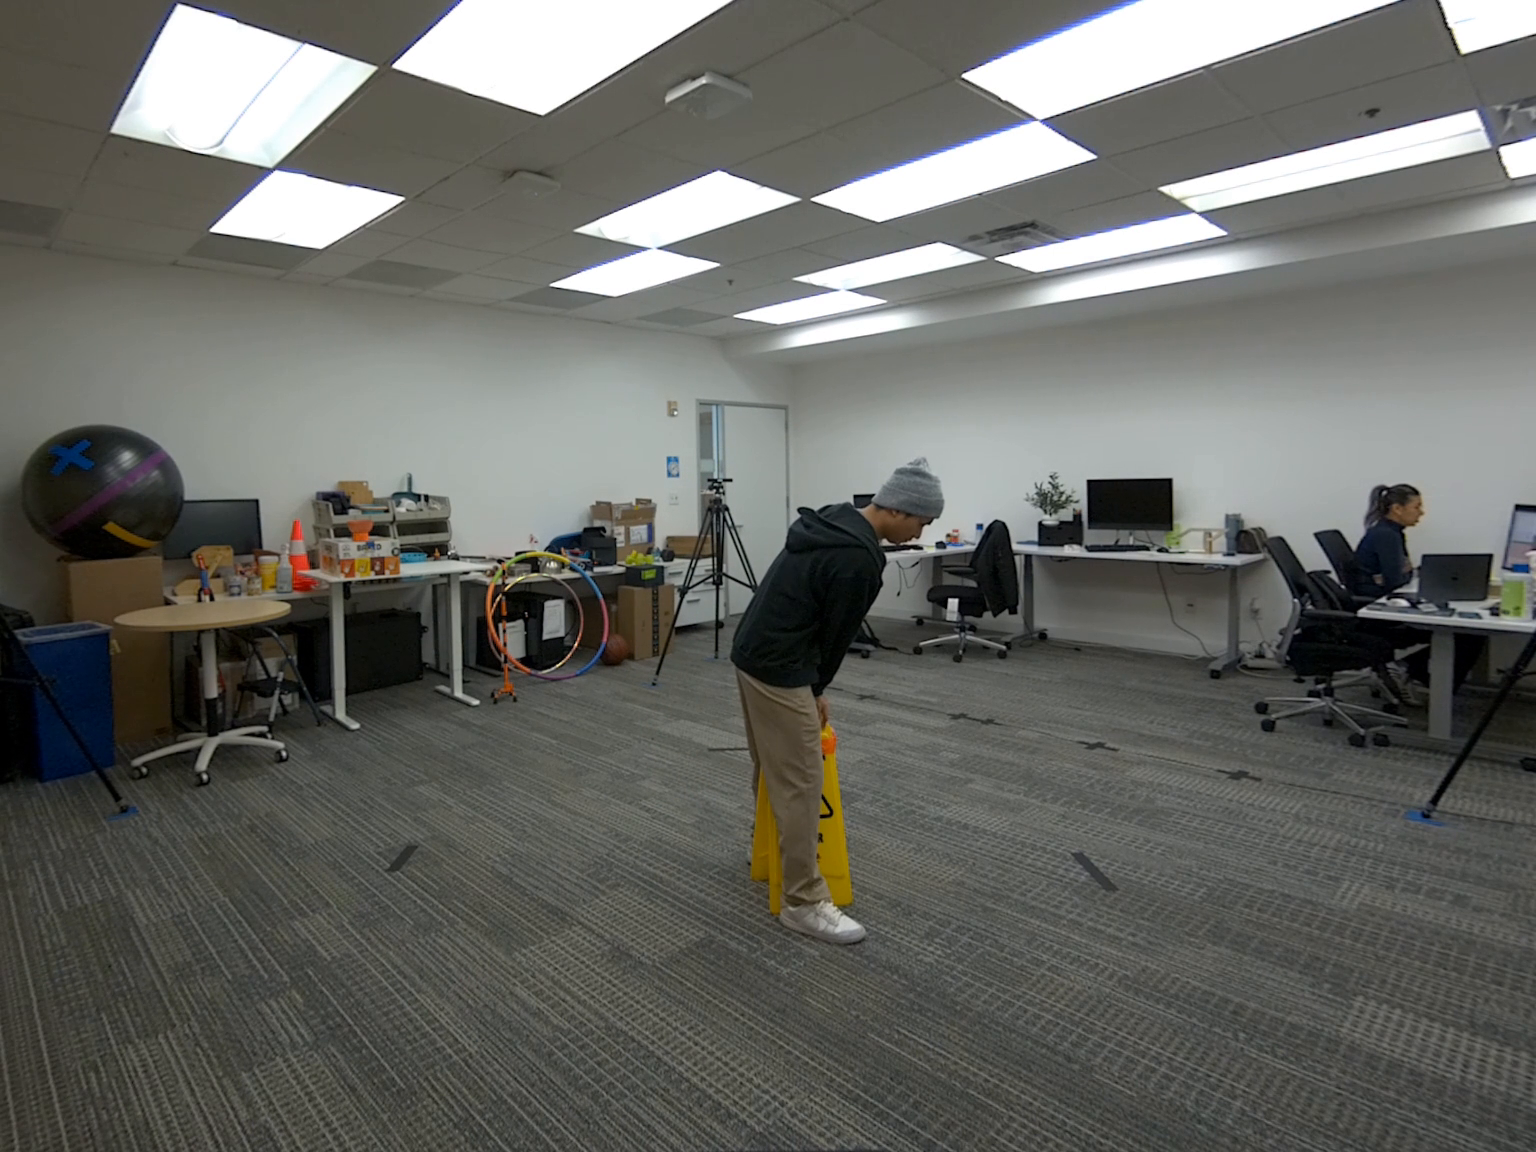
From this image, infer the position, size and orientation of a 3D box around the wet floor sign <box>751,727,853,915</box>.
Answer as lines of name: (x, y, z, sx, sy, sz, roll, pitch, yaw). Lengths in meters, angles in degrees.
wet floor sign: (0.117, 0.750, 2.870, 0.278, 0.643, 0.295, -2, 5, -15)
